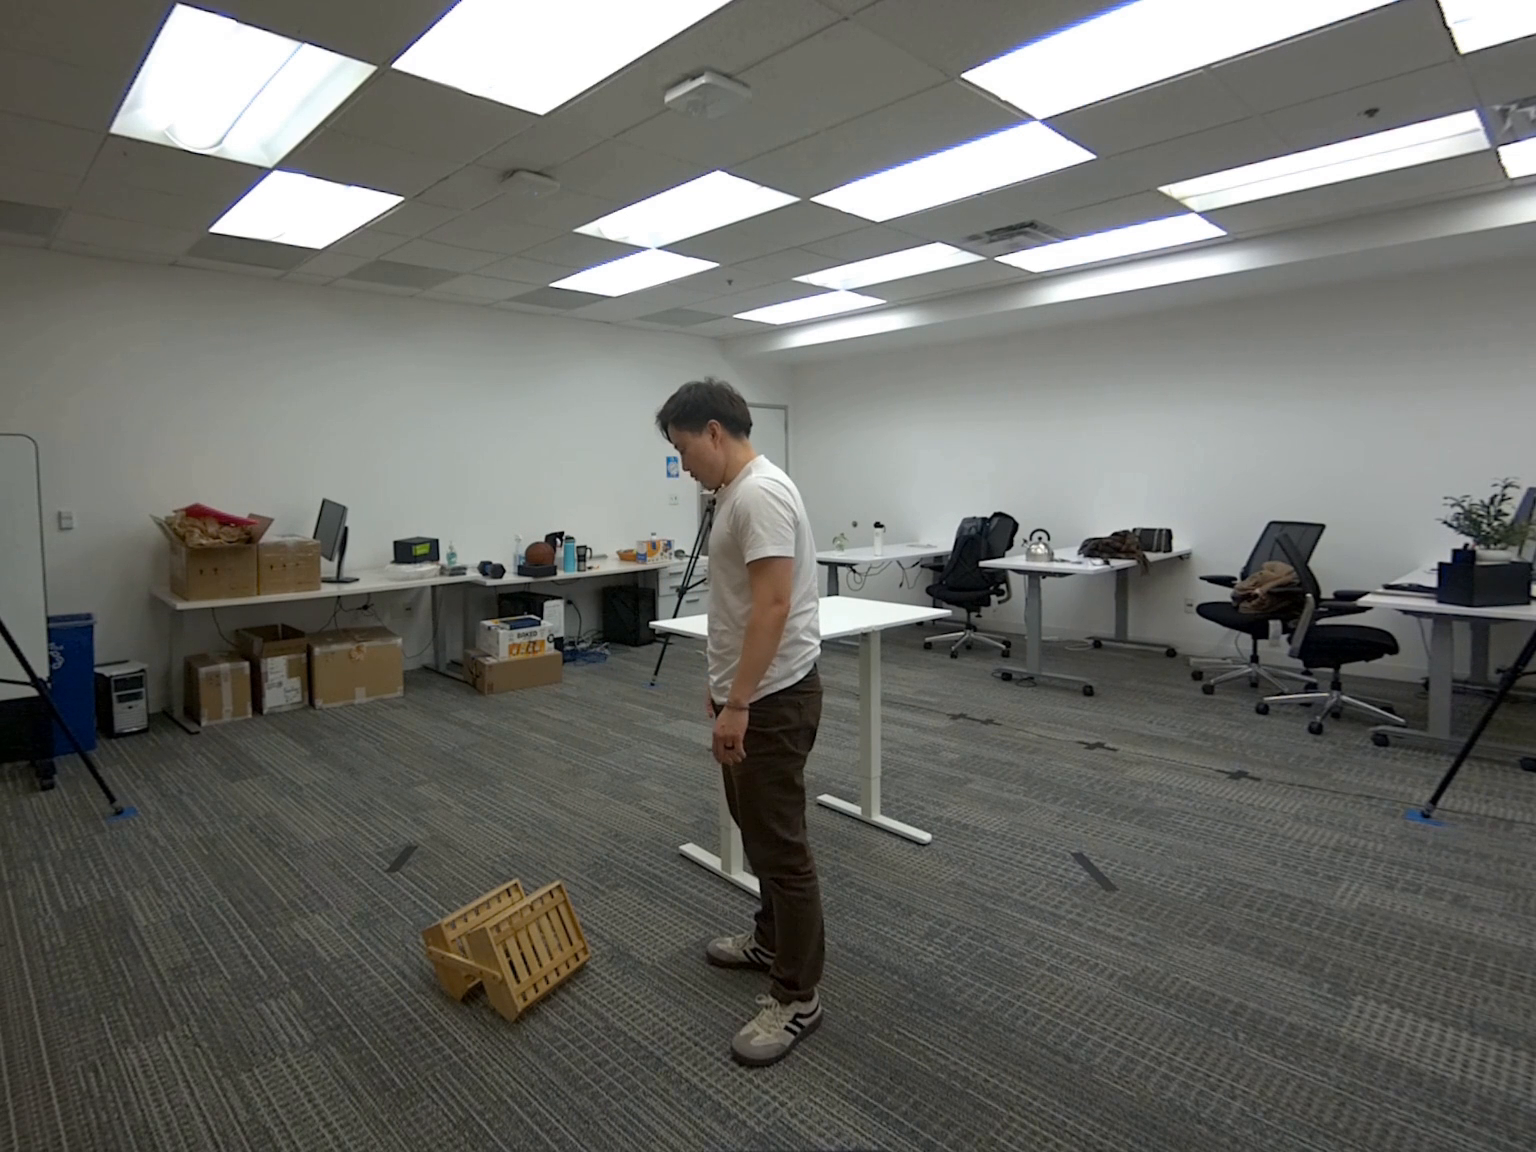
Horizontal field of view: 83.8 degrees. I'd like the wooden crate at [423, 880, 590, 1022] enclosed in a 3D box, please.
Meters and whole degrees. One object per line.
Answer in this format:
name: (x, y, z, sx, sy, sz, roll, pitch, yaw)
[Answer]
wooden crate: (-0.726, 1.050, 2.419, 0.276, 0.305, 0.318, -30, -9, 28)
